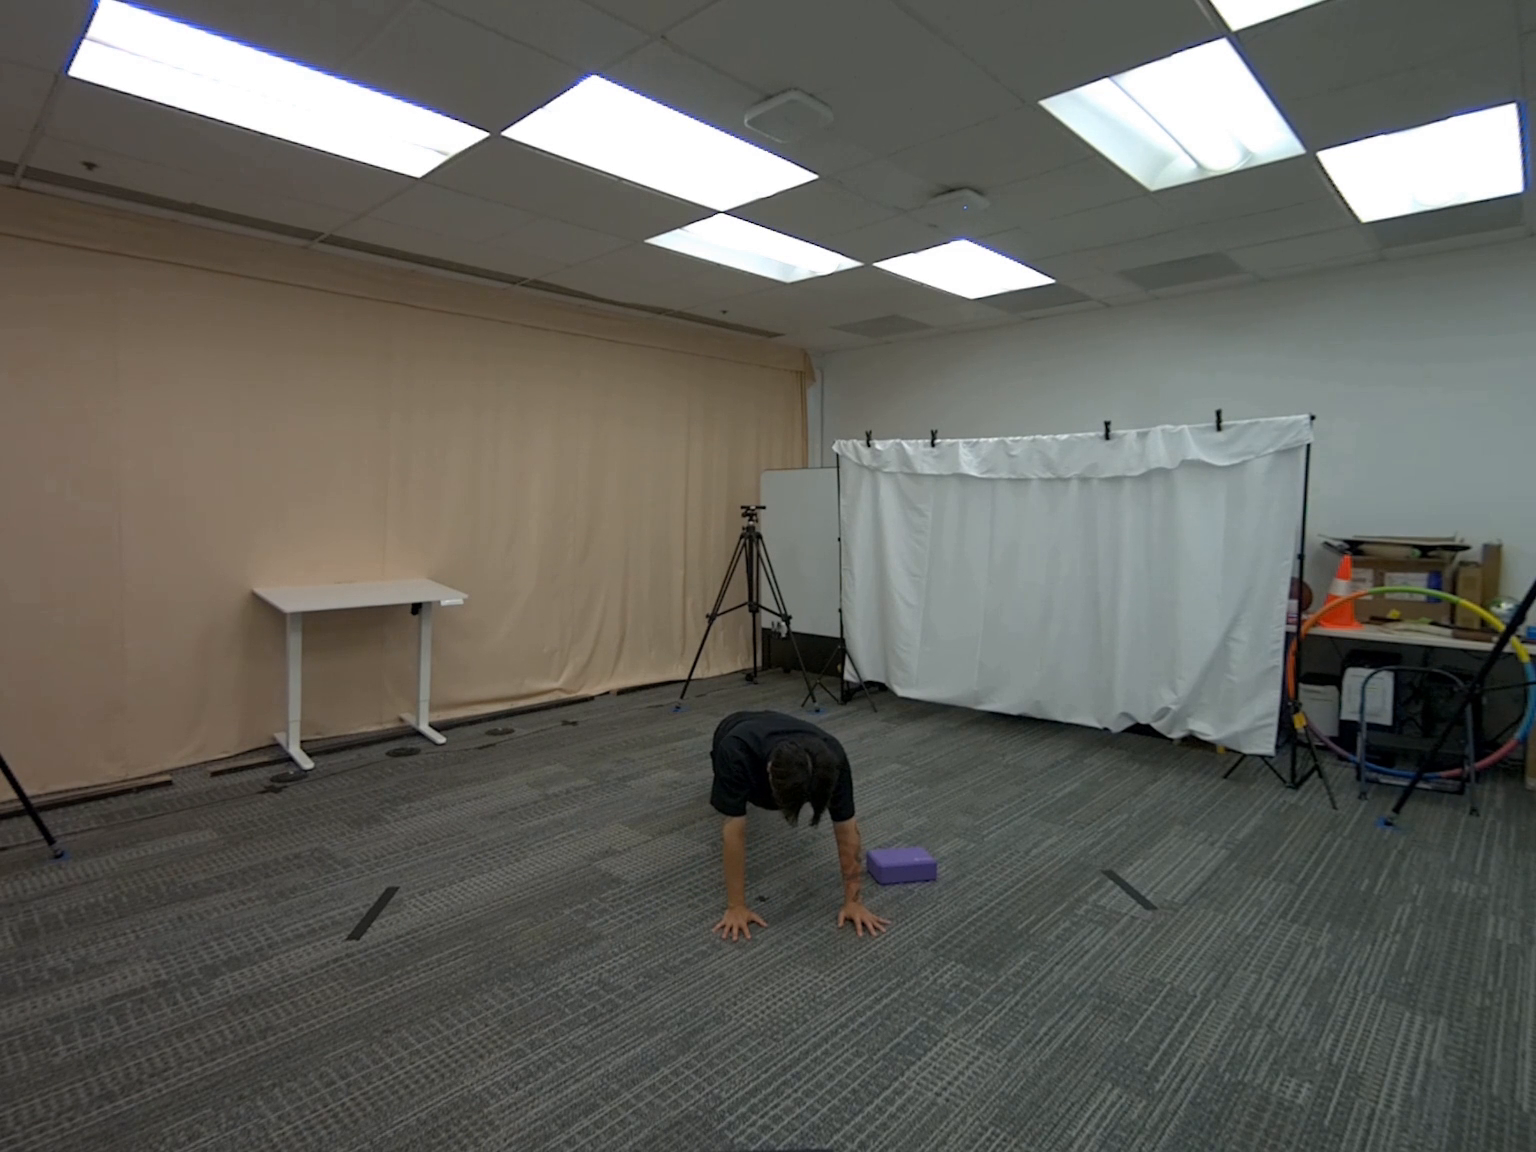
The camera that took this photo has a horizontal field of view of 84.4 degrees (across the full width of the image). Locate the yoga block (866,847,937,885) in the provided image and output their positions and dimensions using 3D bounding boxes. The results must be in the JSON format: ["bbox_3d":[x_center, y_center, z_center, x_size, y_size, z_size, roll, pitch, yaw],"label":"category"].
[{"bbox_3d":[0.506,1.085,3.166,0.227,0.076,0.151,-2,5,-11],"label":"yoga block"}]
